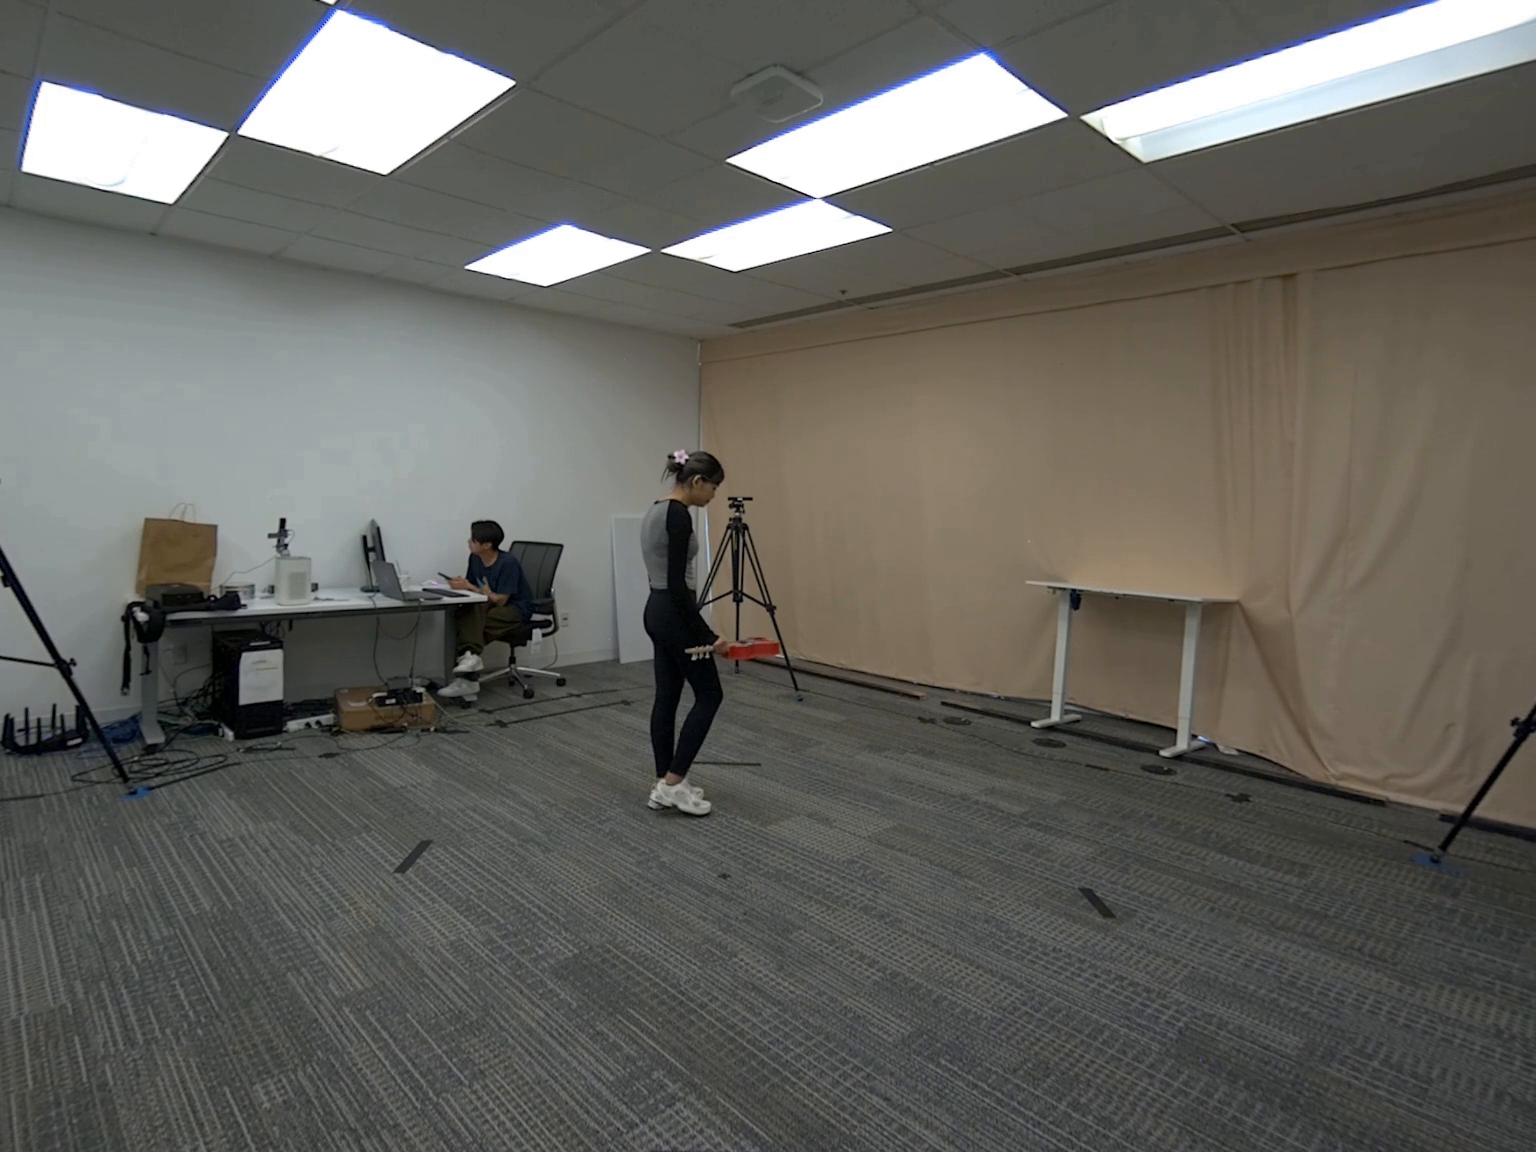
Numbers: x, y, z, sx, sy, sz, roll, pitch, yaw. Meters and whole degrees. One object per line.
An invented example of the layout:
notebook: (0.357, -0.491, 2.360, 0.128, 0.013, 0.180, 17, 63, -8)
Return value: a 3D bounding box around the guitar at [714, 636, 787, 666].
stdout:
guitar: (-0.178, 0.324, 3.662, 0.487, 0.070, 0.197, -3, 5, -37)
